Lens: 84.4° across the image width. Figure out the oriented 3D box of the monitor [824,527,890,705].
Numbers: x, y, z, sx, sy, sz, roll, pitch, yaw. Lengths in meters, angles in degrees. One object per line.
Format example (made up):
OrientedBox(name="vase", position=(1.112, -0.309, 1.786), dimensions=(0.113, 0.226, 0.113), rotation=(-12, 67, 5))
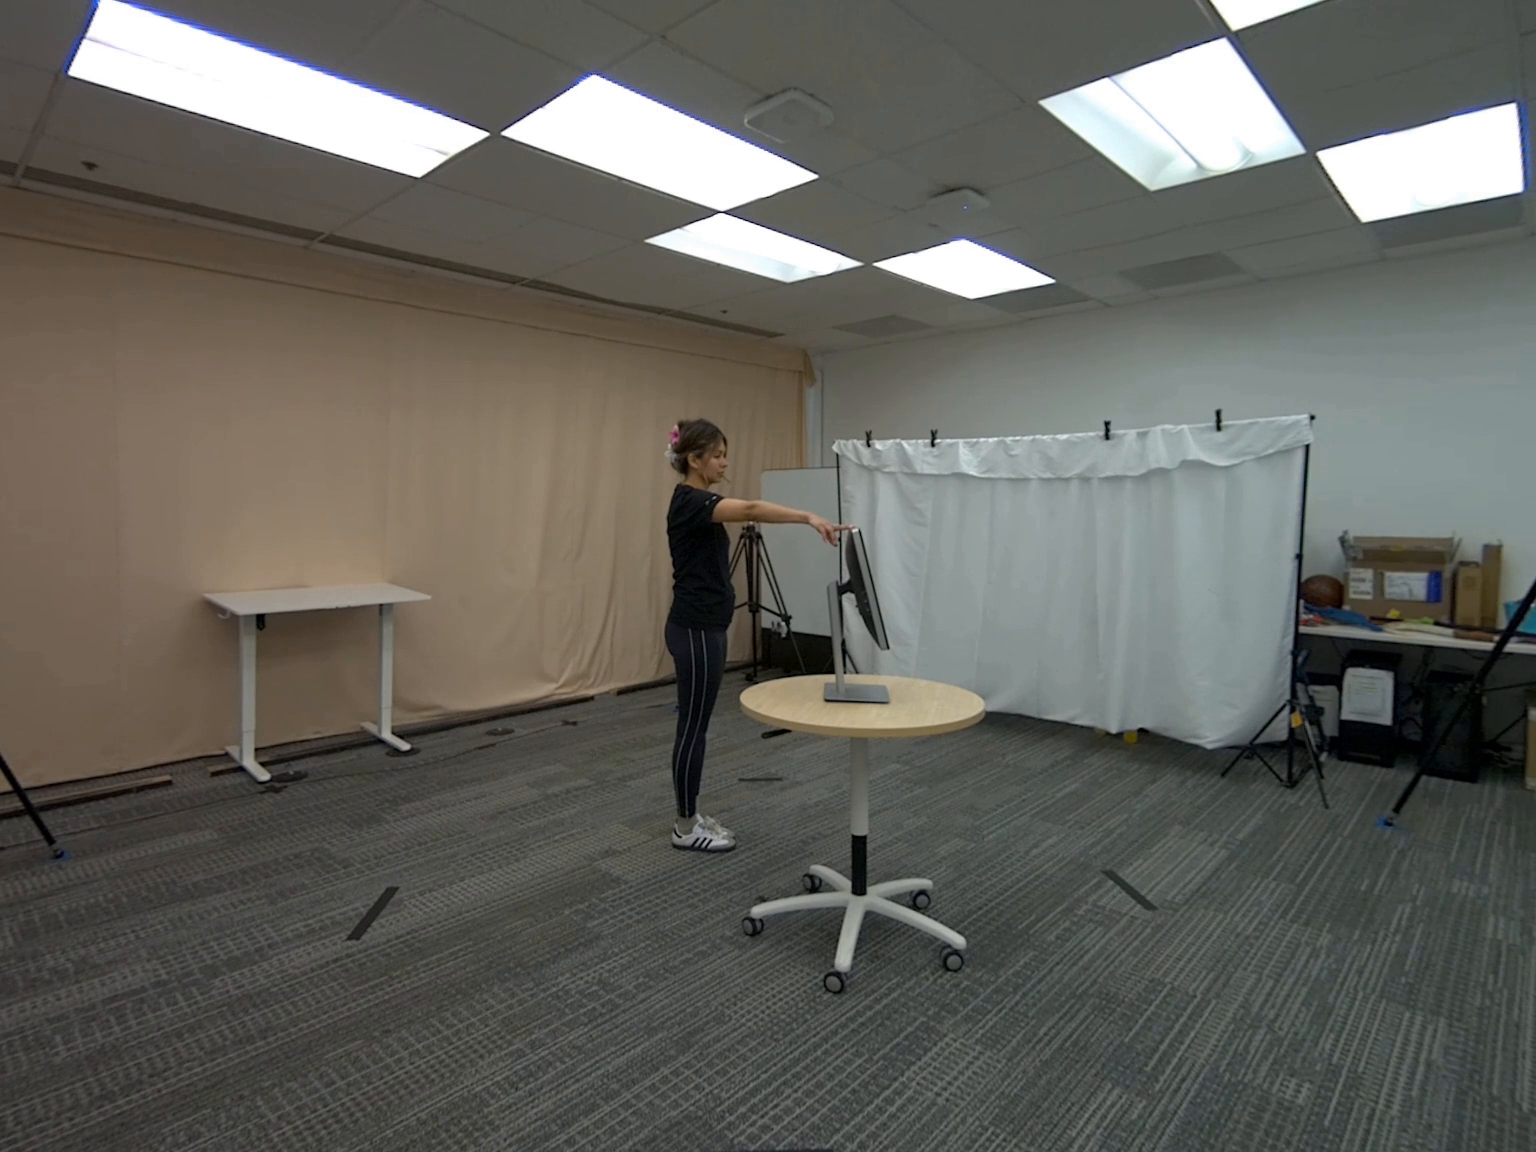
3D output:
OrientedBox(name="monitor", position=(0.285, 0.123, 2.722), dimensions=(0.188, 0.522, 0.537), rotation=(0, 3, 3))
